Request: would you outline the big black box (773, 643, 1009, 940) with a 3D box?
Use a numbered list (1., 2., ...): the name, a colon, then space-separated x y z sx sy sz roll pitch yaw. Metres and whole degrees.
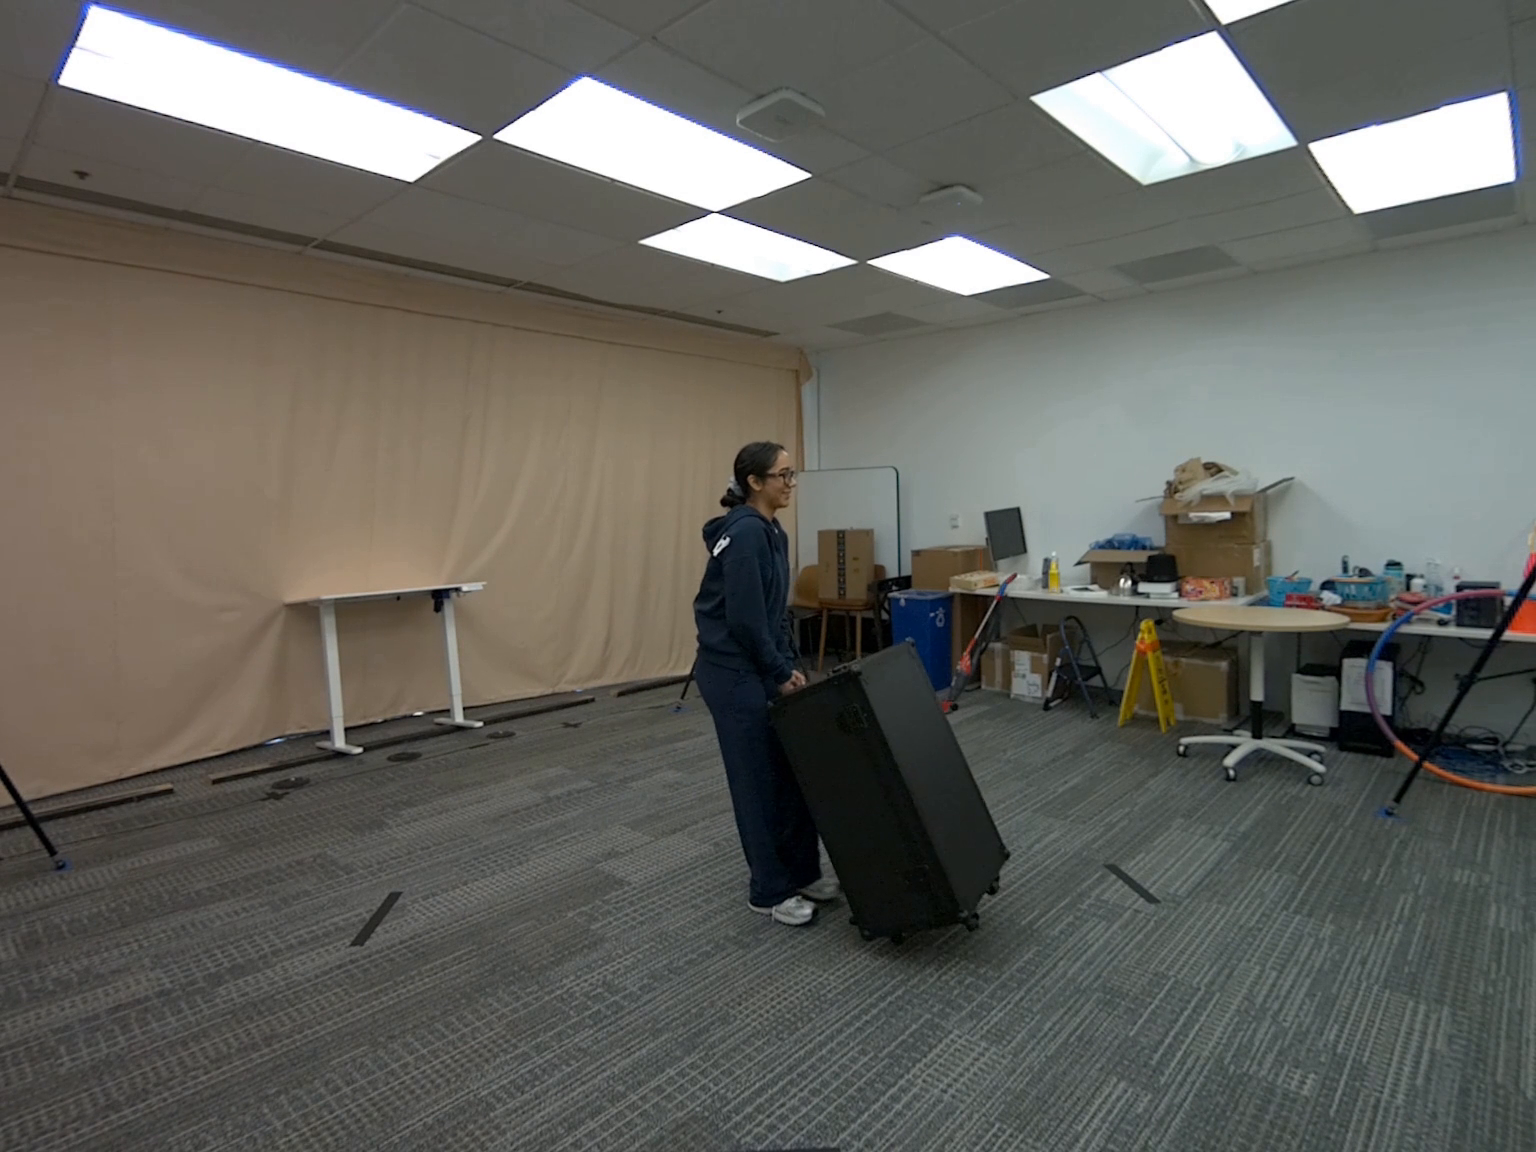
1. big black box: 0.406 0.711 2.743 0.403 0.868 0.508 -28 -8 31
